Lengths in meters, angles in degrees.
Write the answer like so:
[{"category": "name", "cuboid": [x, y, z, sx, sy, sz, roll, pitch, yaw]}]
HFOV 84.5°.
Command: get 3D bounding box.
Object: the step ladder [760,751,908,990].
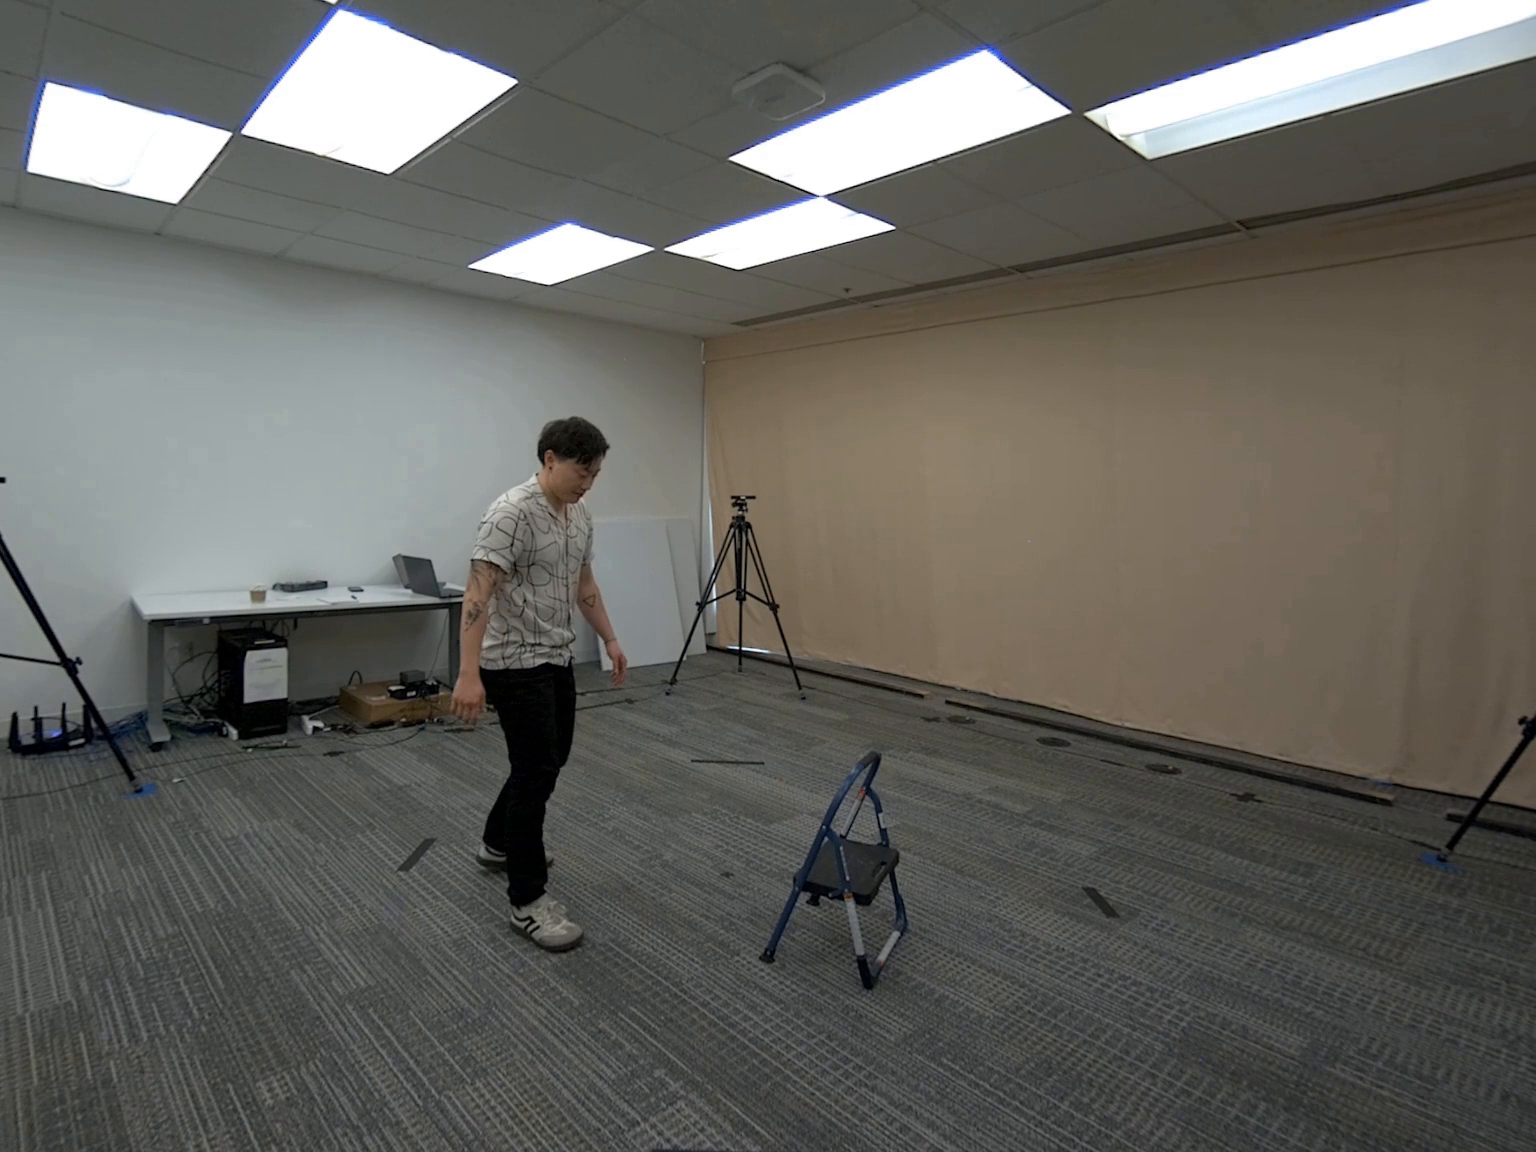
[{"category": "step ladder", "cuboid": [0.222, 0.850, 2.621, 0.356, 0.604, 0.424, 3, 5, 24]}]
